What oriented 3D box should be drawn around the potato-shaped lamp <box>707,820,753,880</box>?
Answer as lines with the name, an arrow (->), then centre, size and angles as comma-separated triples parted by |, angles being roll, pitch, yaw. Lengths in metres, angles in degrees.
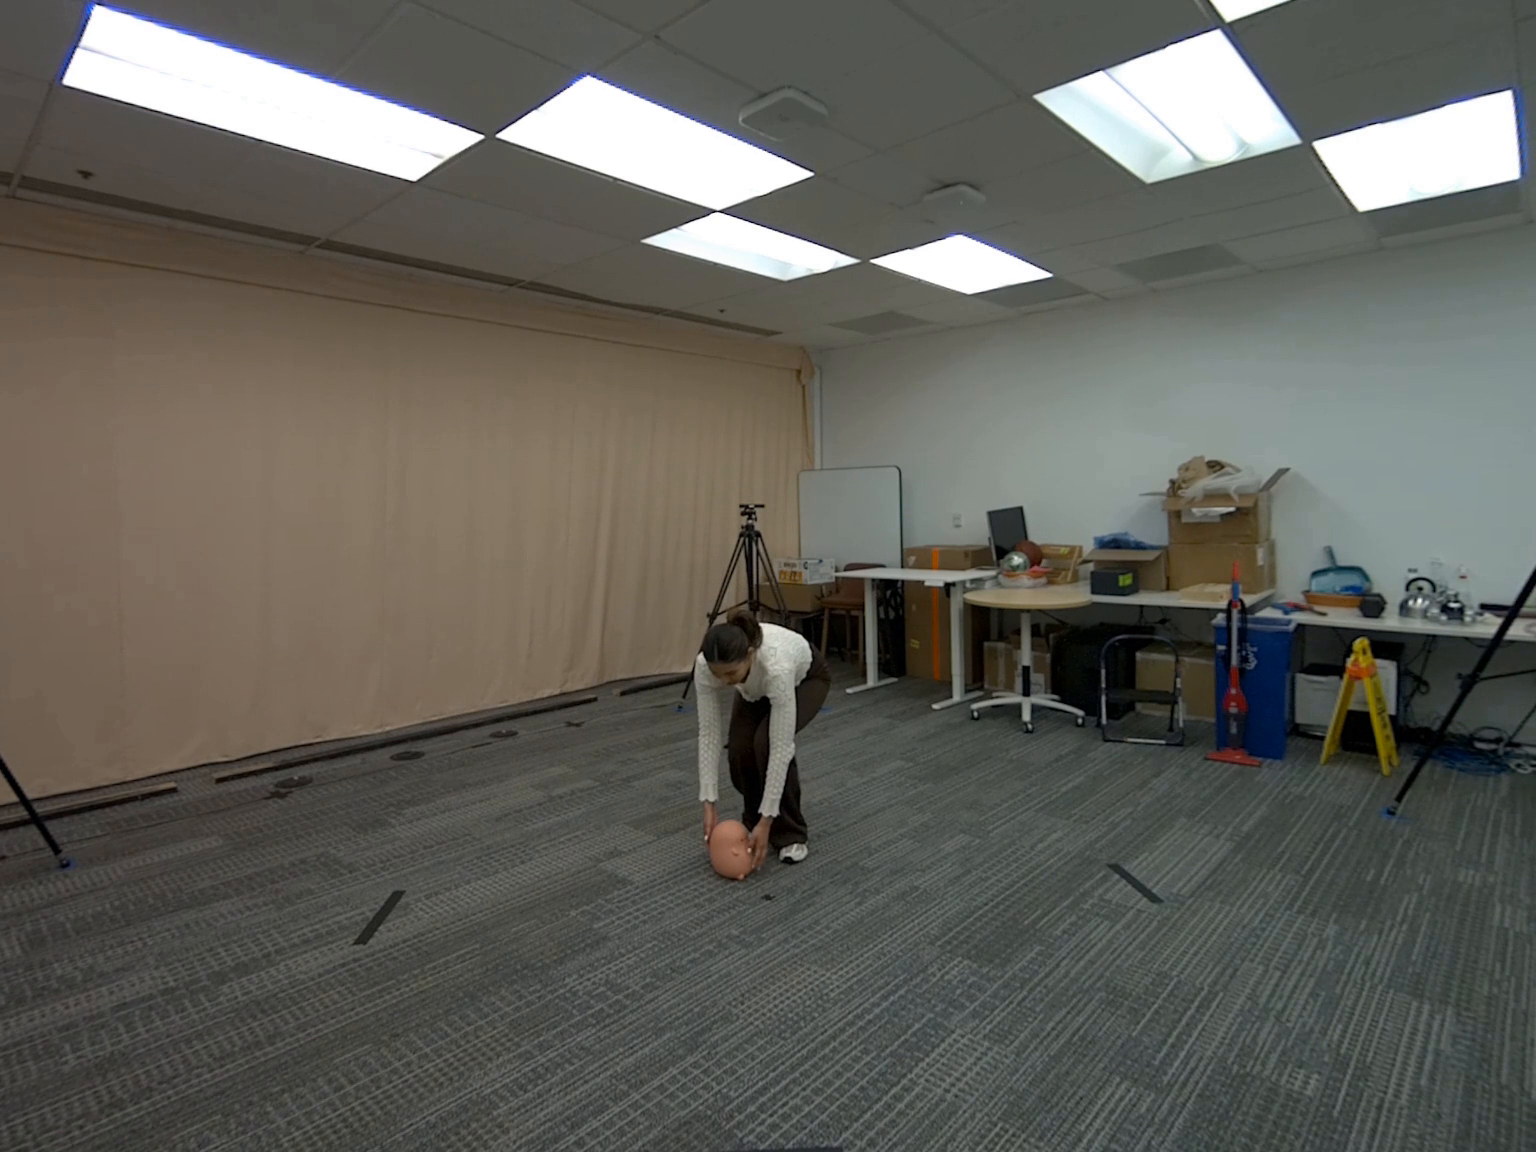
potato-shaped lamp -> -0.132, 1.016, 3.187 | 0.176, 0.198, 0.160 | 5, -2, 27
